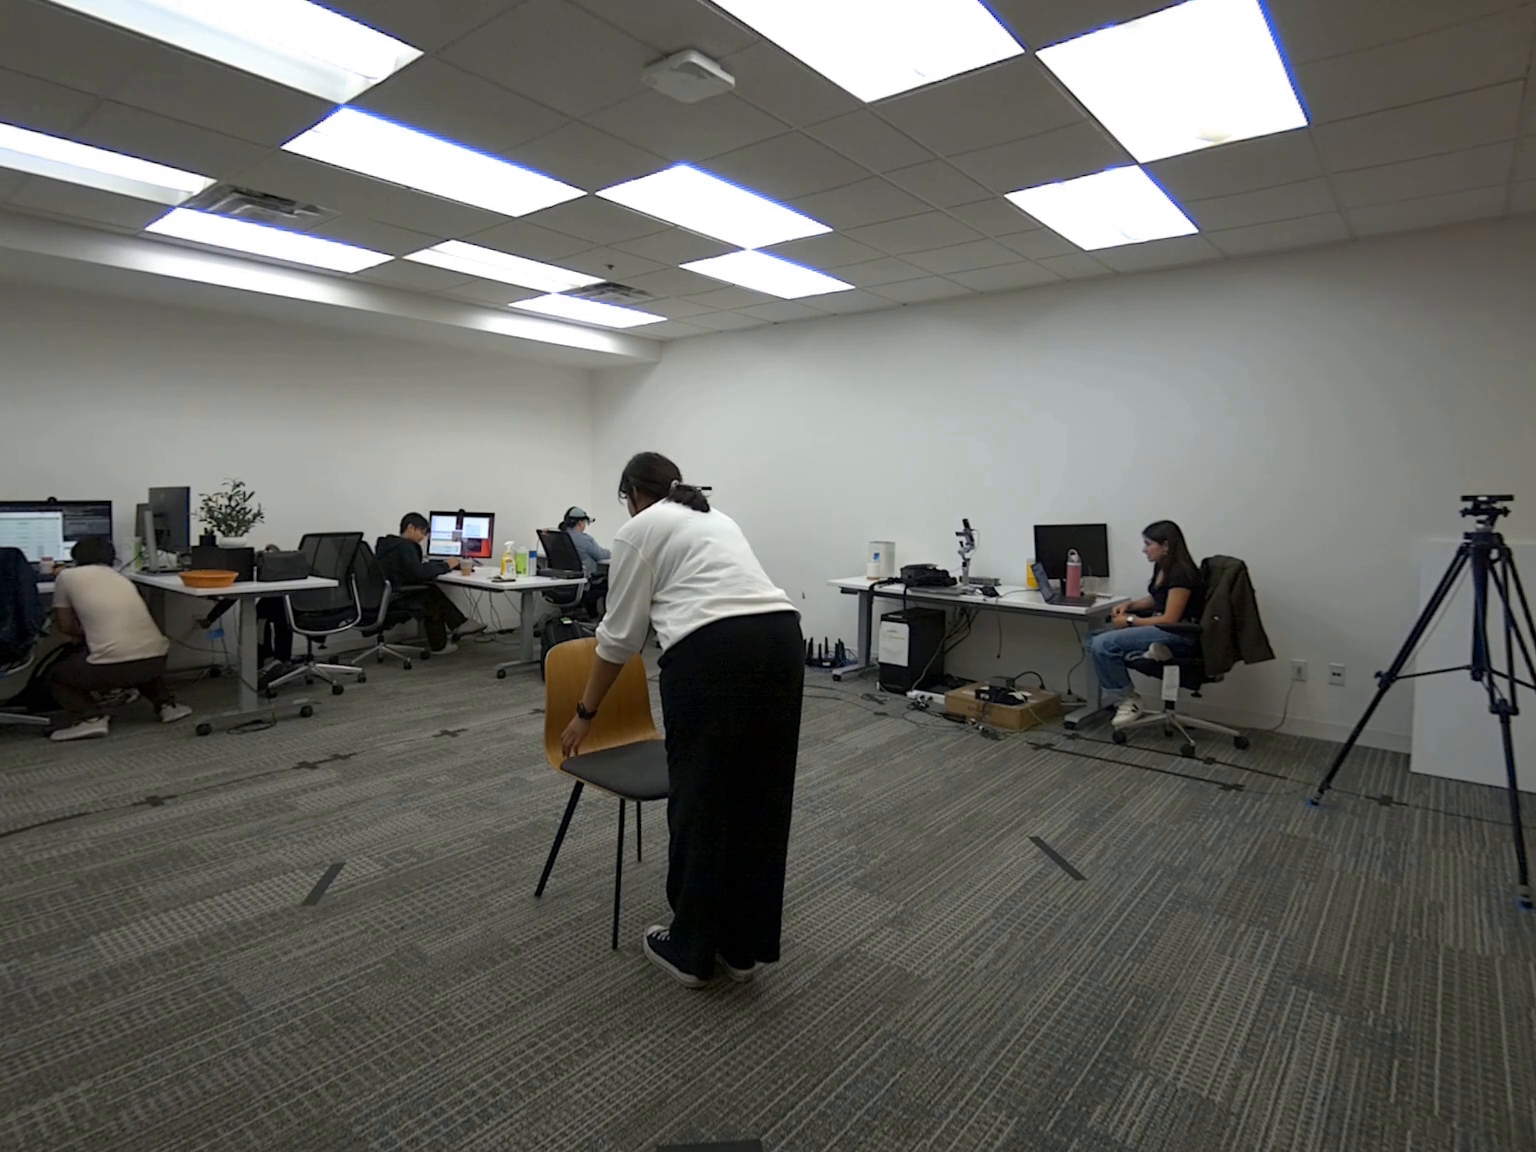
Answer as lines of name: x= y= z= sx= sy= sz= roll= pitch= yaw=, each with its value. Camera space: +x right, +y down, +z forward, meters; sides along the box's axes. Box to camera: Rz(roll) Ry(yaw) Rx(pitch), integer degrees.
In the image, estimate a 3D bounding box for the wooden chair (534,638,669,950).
wooden chair: x=-0.455 y=0.660 z=2.829 sx=0.463 sy=0.878 sz=0.539 roll=-2 pitch=0 yaw=-45
